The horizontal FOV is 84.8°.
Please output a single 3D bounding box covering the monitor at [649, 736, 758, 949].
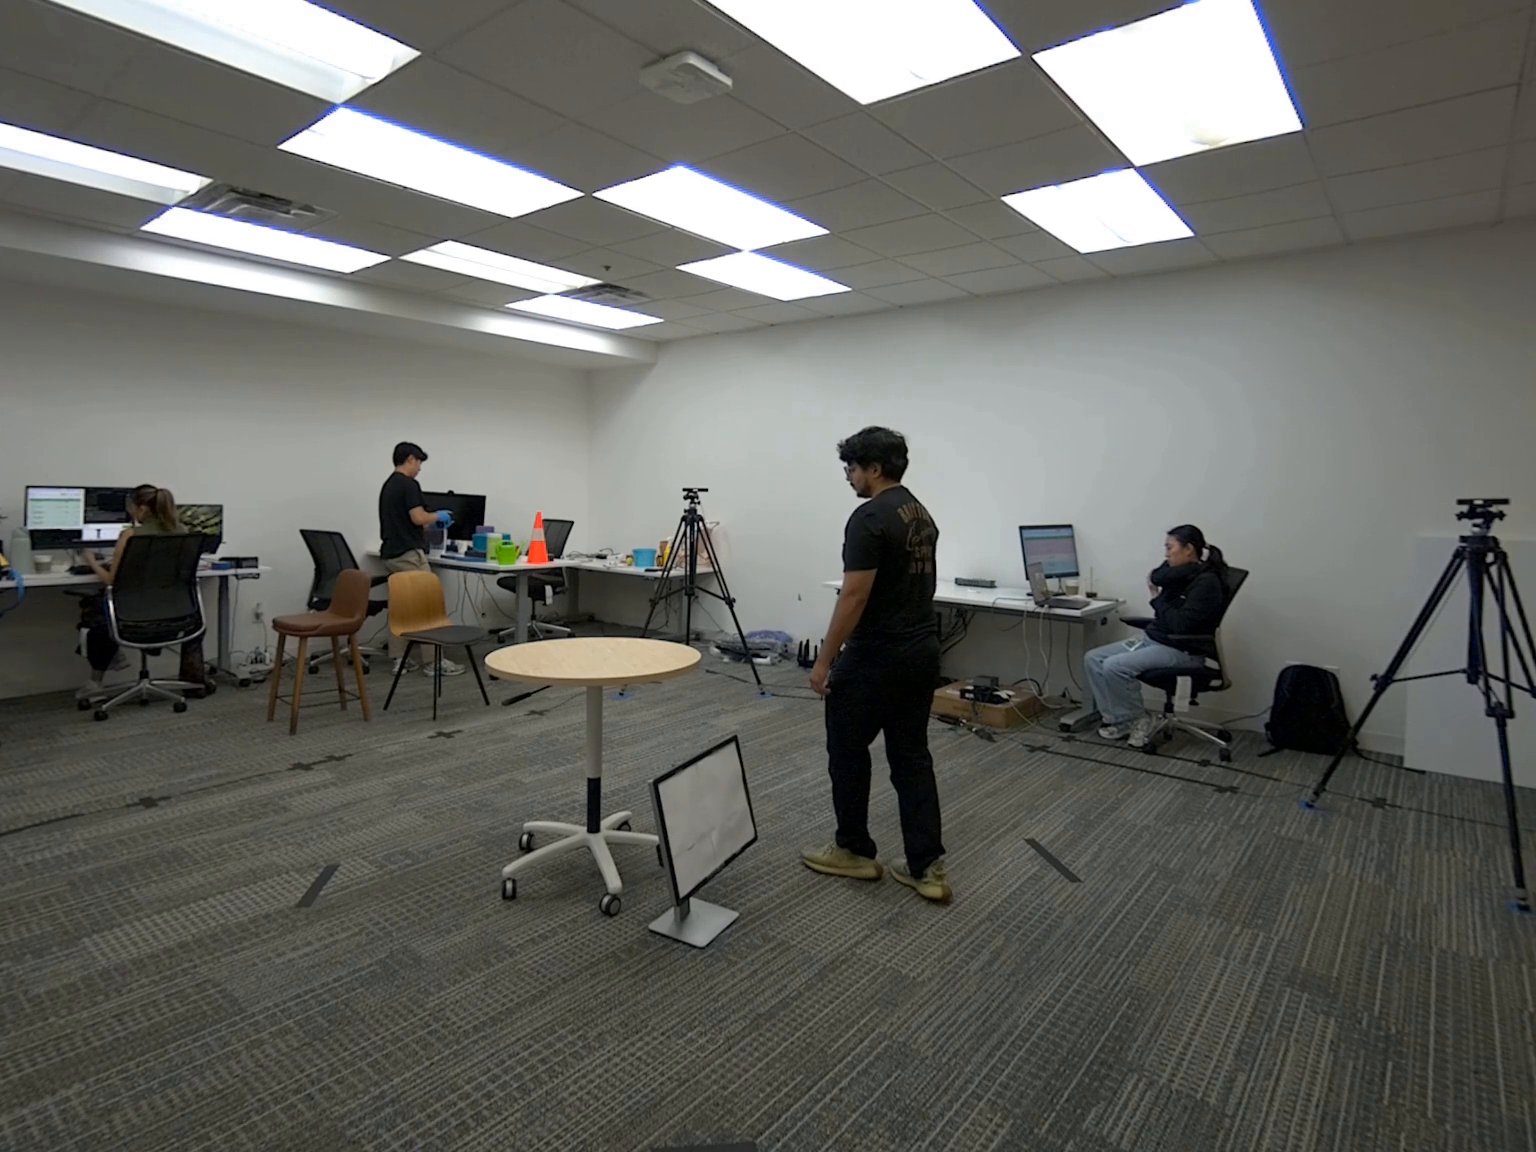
[{"bbox_3d":[-0.256,0.840,2.711,0.215,0.554,0.552,-5,1,25],"label":"monitor"}]
